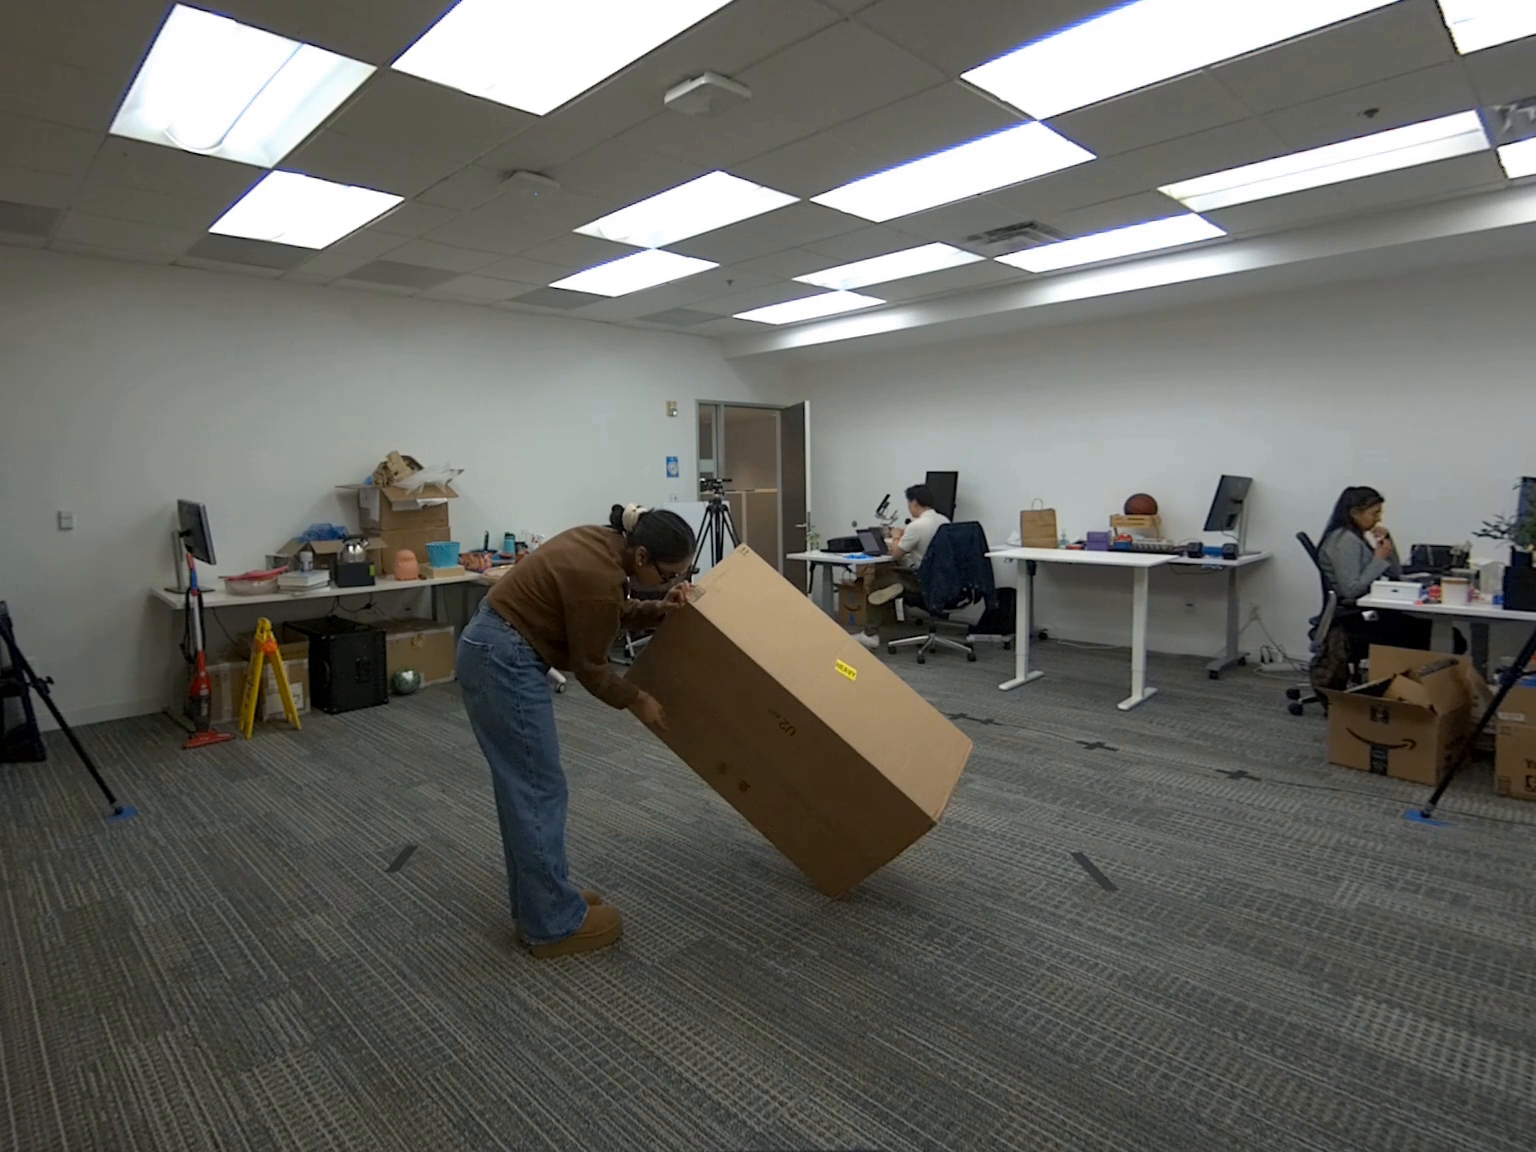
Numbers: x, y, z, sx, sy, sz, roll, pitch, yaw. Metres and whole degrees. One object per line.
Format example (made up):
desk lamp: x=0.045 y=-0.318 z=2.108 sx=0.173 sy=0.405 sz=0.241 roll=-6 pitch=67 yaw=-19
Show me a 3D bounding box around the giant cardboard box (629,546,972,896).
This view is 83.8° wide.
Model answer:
giant cardboard box: x=0.071 y=0.485 z=2.913 sx=1.038 sy=0.581 sz=0.444 roll=41 pitch=36 yaw=7
